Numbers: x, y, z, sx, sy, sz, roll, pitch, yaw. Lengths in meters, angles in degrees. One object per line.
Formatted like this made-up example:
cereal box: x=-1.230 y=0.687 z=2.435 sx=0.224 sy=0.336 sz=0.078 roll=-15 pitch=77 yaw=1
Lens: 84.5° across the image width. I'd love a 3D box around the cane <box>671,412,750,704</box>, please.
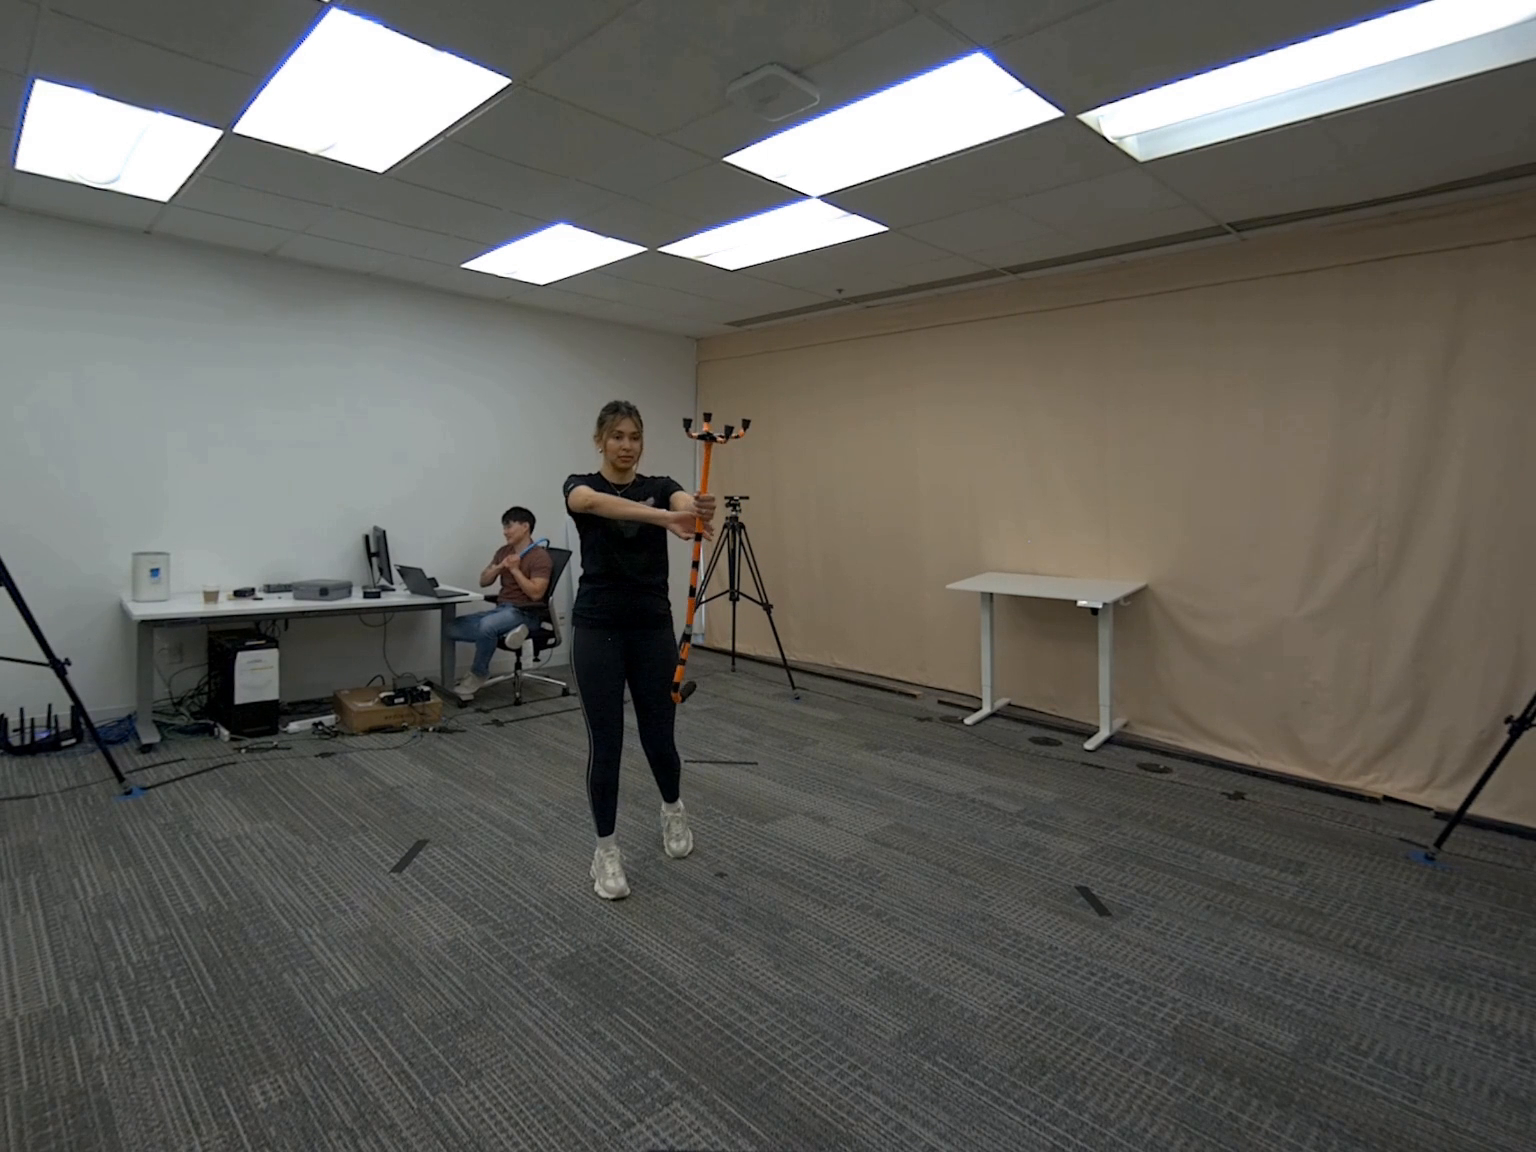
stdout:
cane: x=-0.204 y=-0.030 z=2.541 sx=0.153 sy=0.898 sz=0.206 roll=13 pitch=18 yaw=12
